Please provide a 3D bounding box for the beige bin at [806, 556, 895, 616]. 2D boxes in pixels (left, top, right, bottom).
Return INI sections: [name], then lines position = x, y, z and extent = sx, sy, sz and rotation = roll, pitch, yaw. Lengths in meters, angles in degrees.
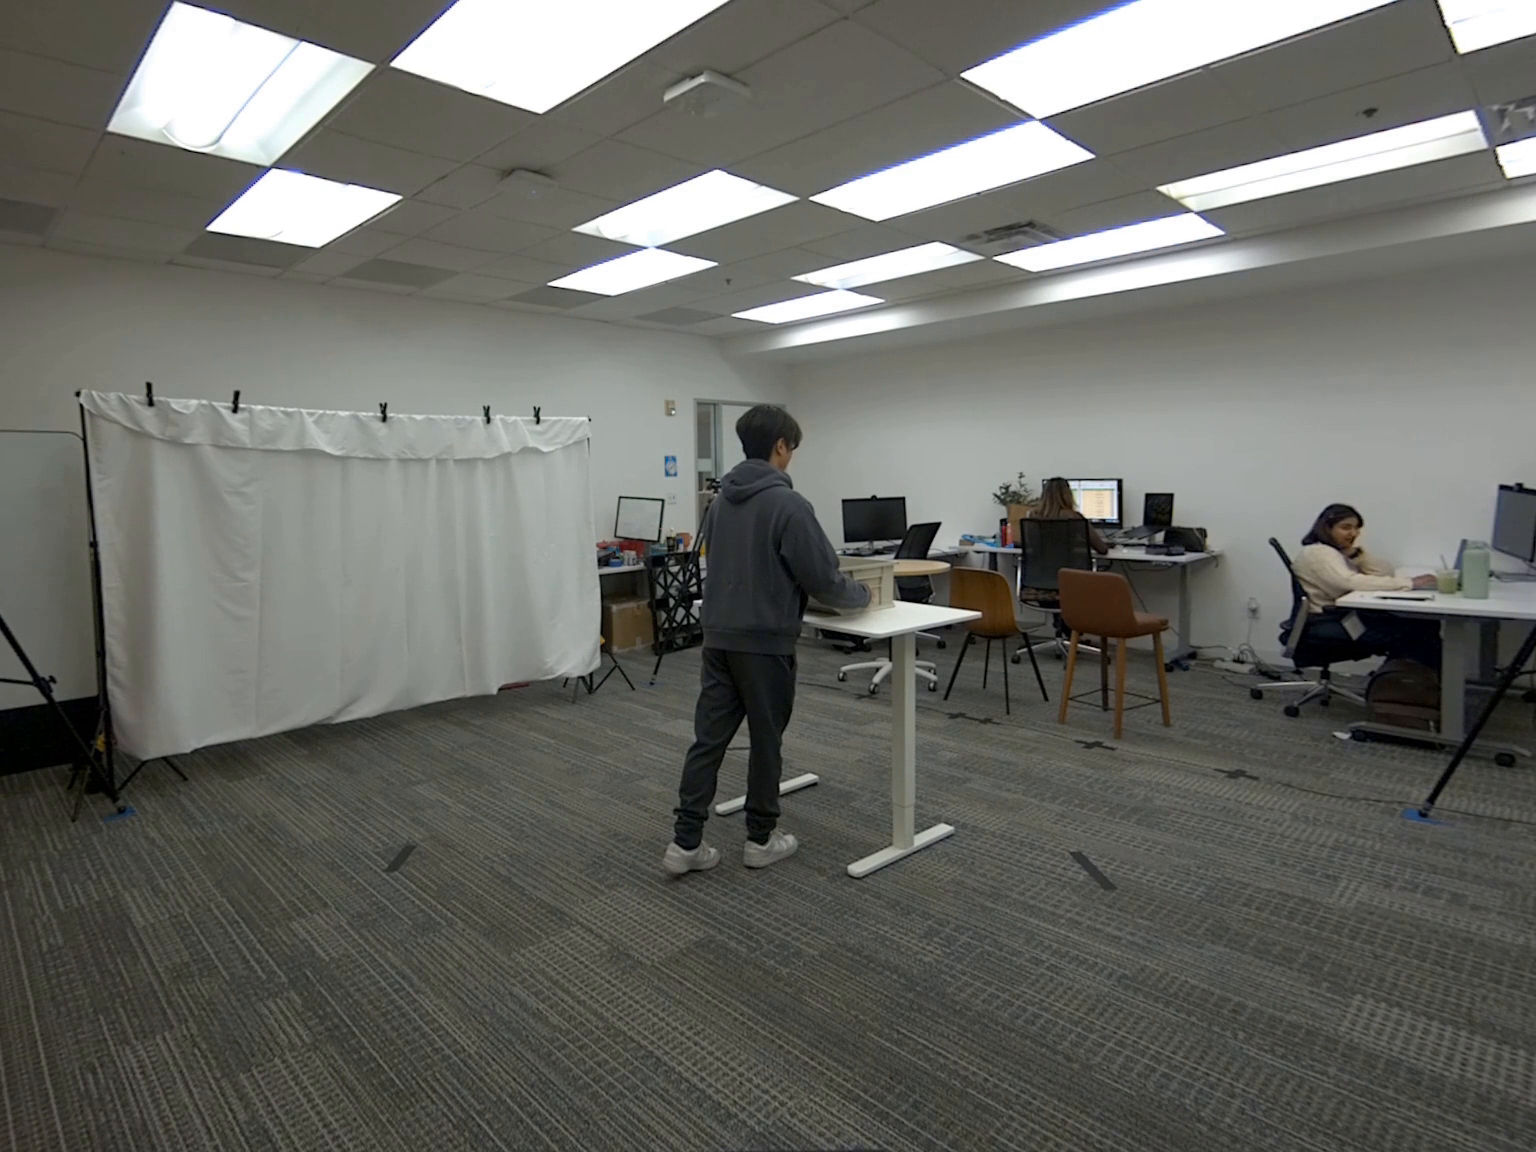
[beige bin]
position = 0.240, 0.033, 3.400
extent = 0.367, 0.188, 0.435
rotation = -6, 8, -40
